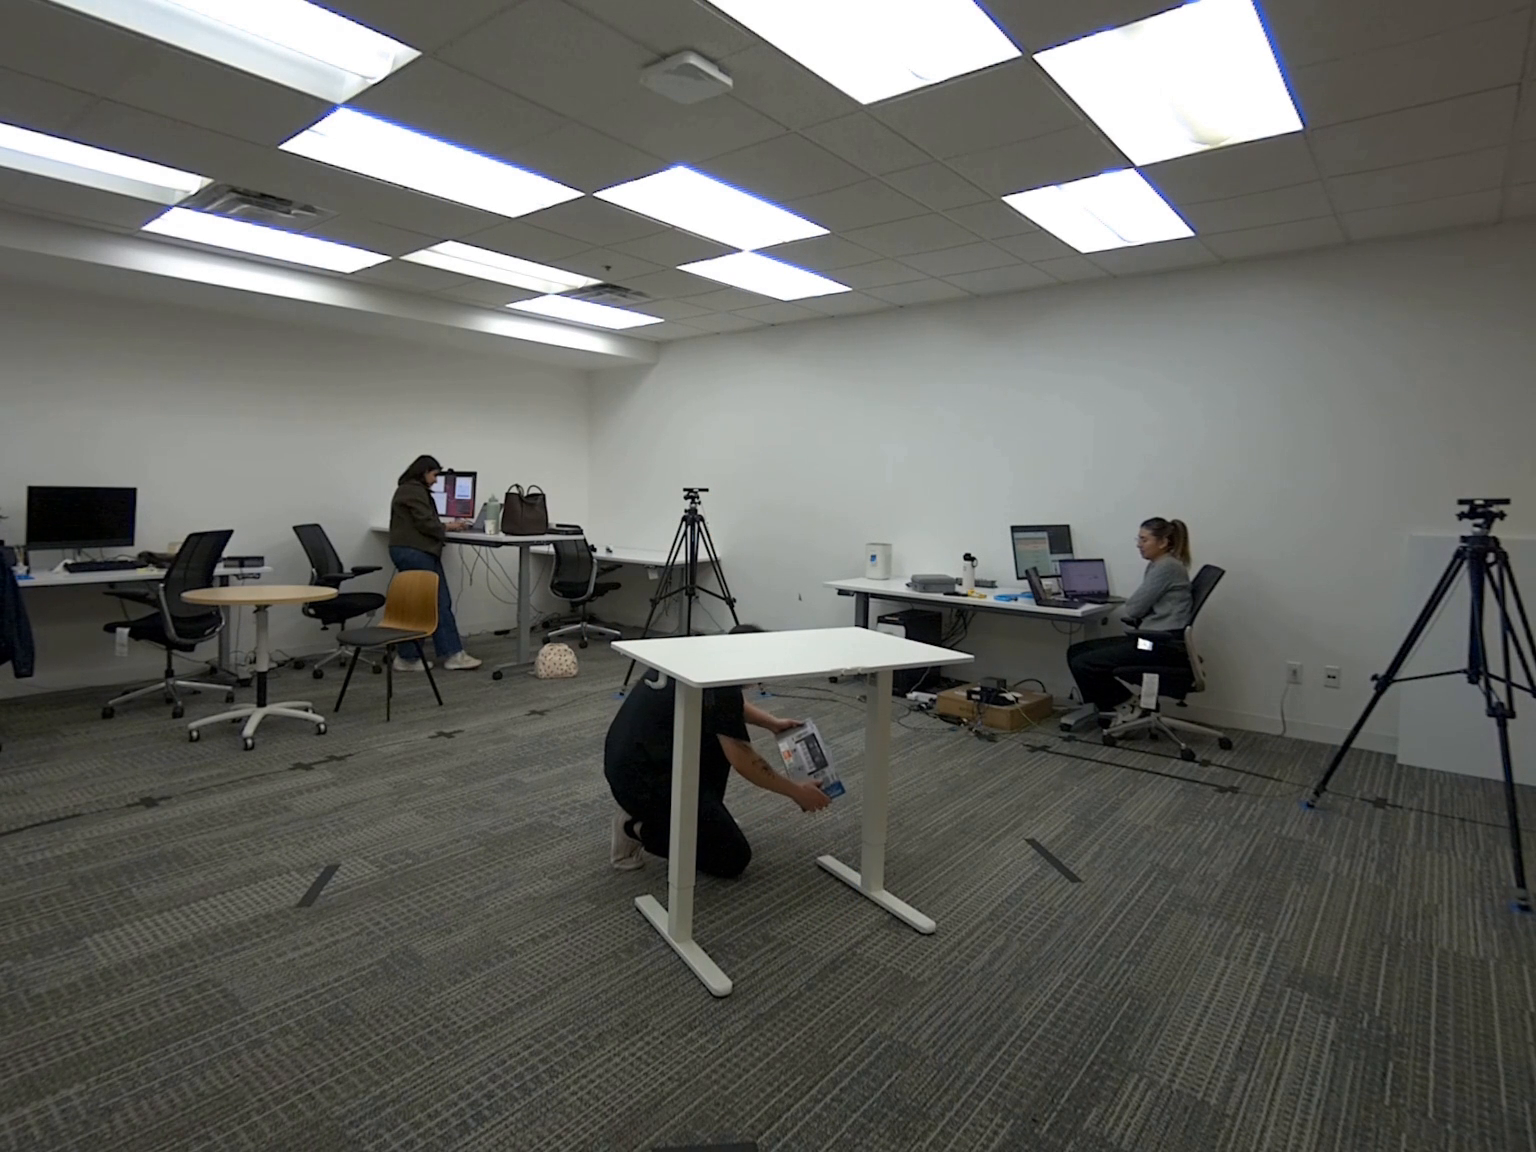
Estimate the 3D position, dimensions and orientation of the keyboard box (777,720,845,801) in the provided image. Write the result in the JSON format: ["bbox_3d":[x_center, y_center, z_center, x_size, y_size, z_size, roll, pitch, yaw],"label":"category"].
[{"bbox_3d":[0.140,0.719,3.269,0.176,0.057,0.449,-26,25,0],"label":"keyboard box"}]
